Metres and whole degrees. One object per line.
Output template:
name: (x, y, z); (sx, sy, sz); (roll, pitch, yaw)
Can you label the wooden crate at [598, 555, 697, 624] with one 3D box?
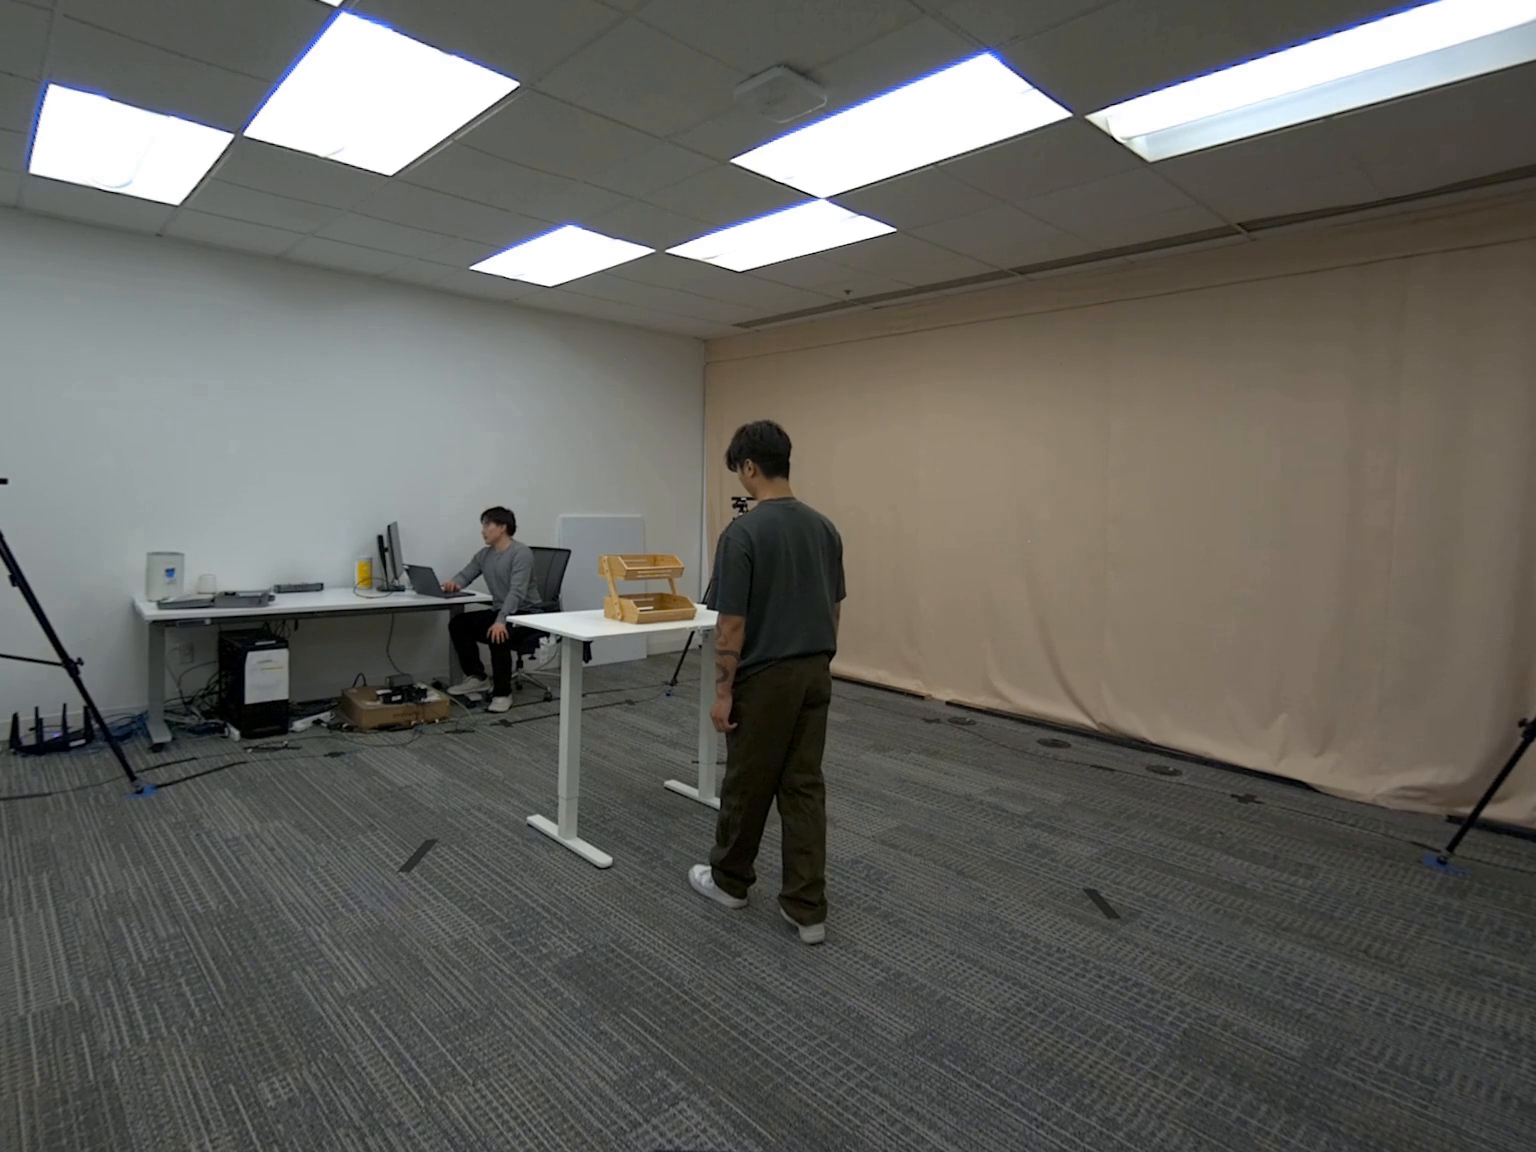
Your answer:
wooden crate: (-0.512, 0.044, 3.540); (0.317, 0.273, 0.310); (-1, 4, -43)
